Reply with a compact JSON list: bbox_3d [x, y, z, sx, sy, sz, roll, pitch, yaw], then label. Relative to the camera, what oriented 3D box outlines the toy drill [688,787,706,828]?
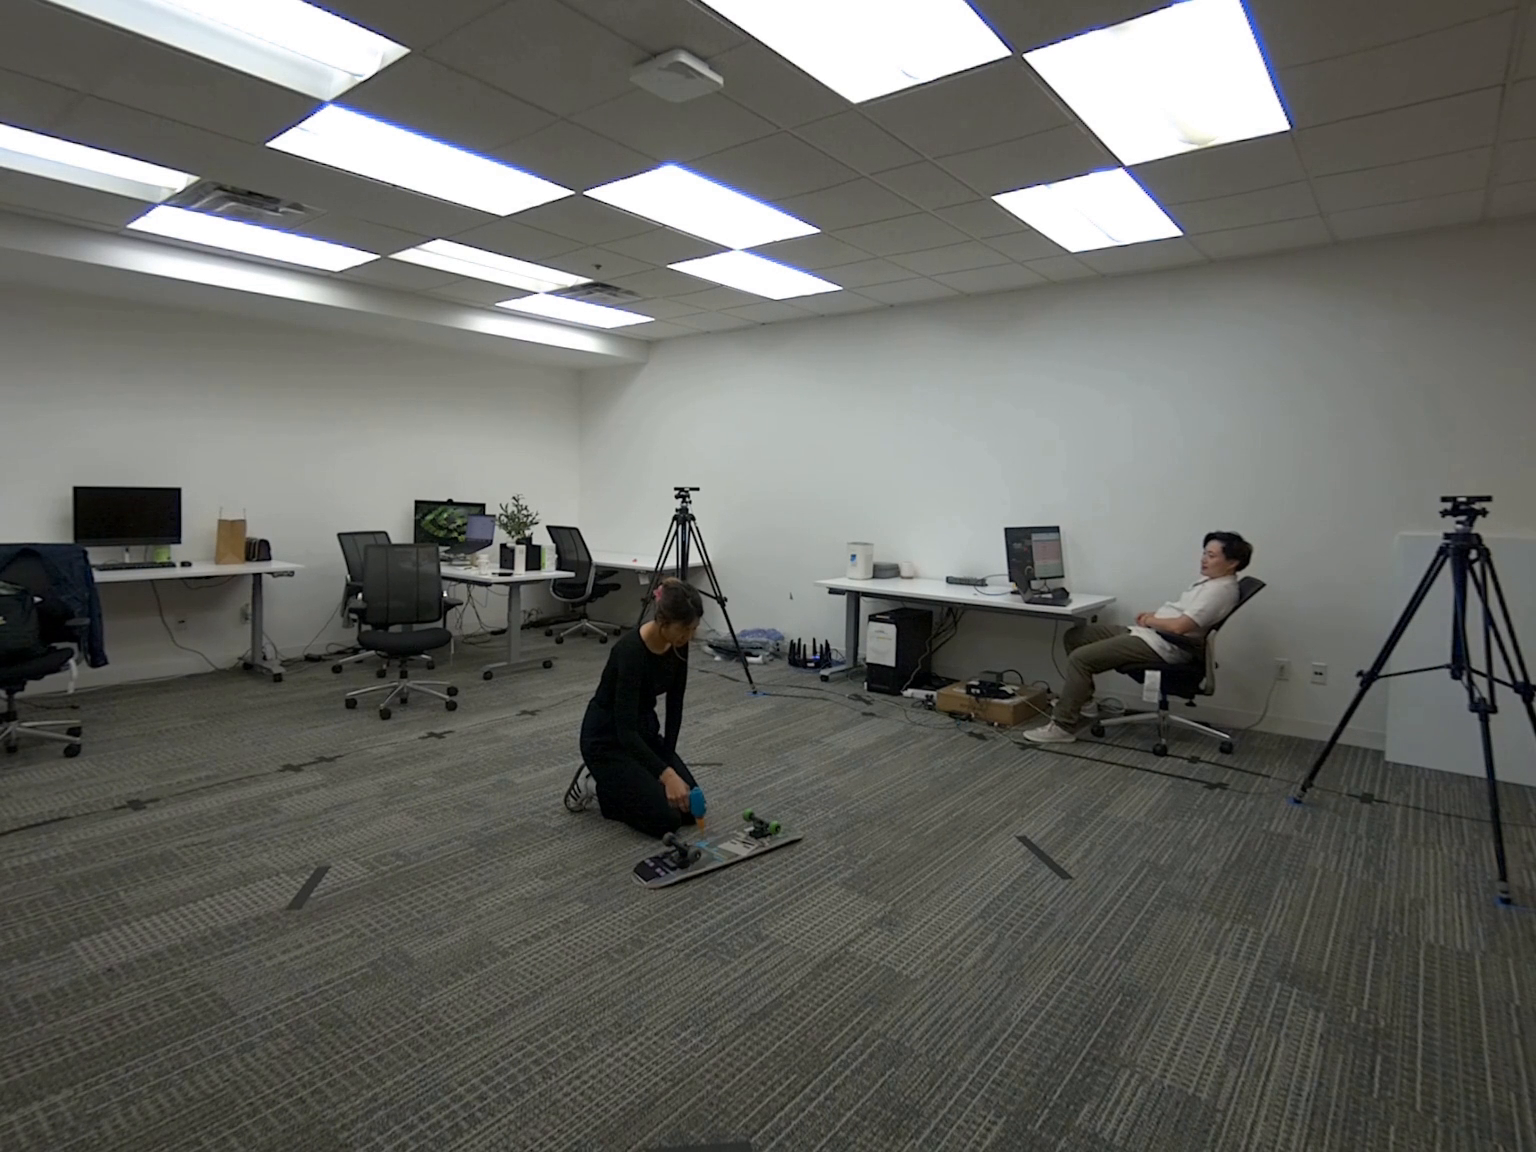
[{"bbox_3d":[-0.307,0.867,3.128,0.149,0.168,0.060,-2,9,24],"label":"toy drill"}]
